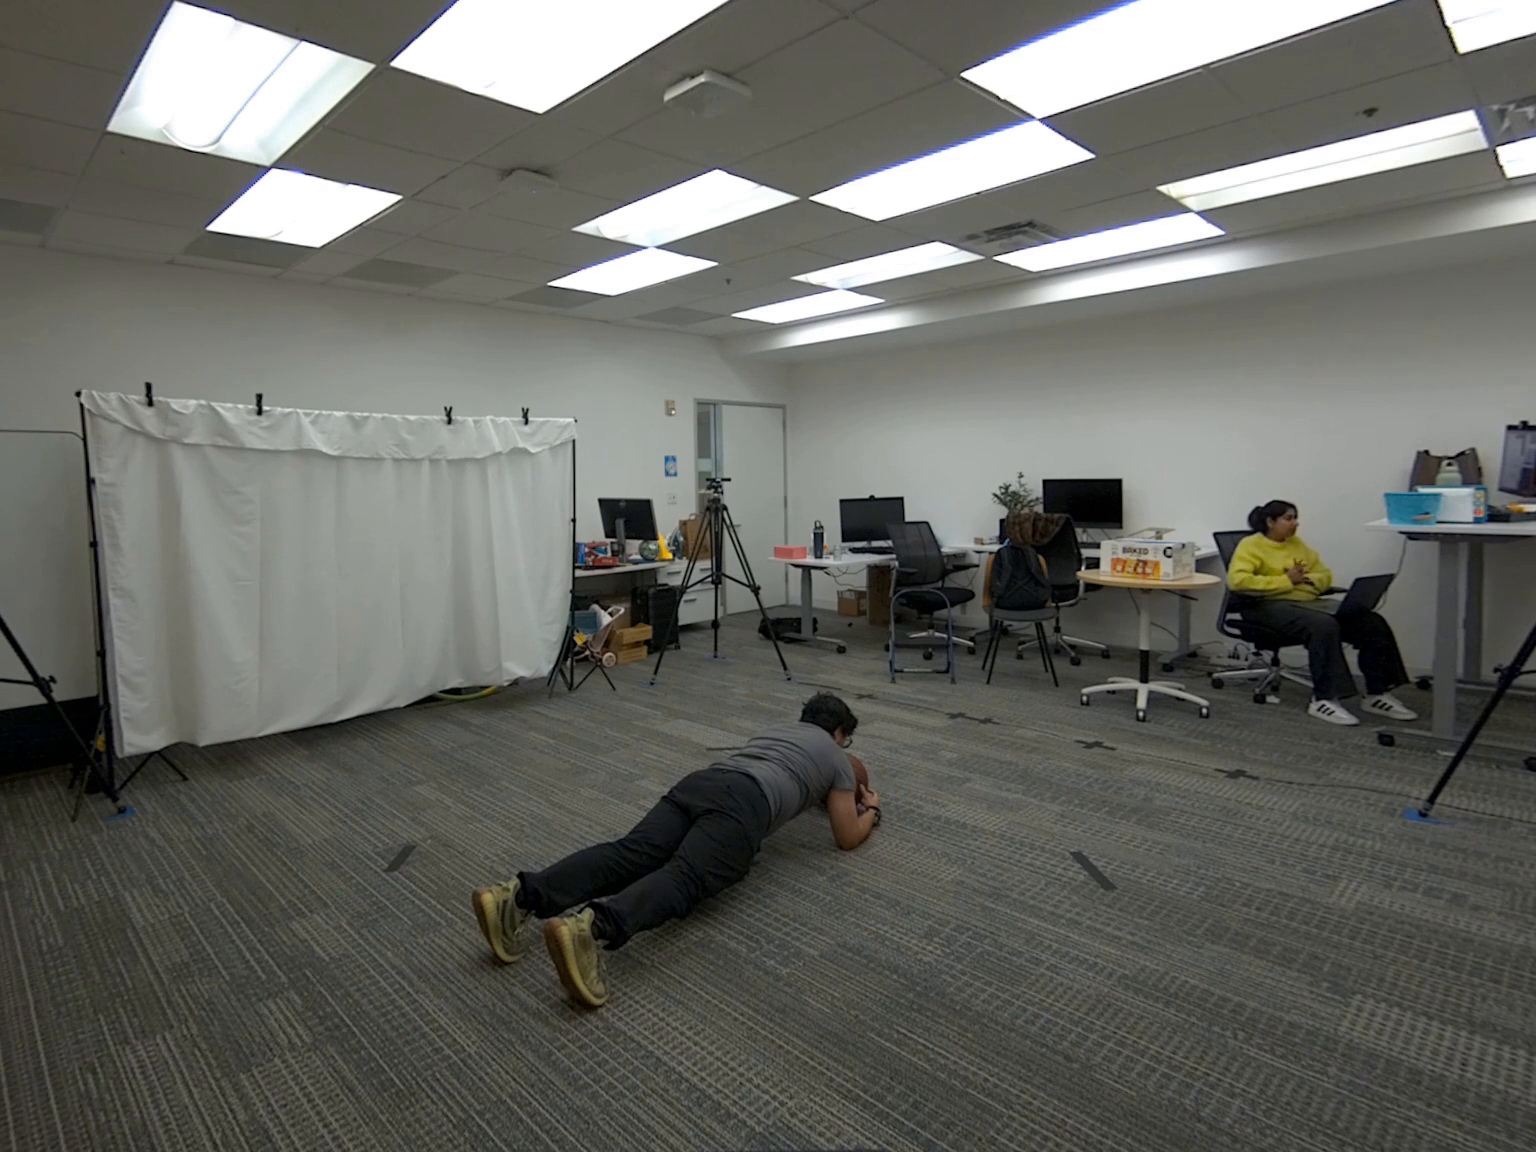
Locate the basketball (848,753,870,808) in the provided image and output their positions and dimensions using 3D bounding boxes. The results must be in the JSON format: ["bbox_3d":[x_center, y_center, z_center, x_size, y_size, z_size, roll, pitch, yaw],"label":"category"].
[{"bbox_3d":[0.311,0.863,3.593,0.236,0.235,0.237,-1,5,-2],"label":"basketball"}]
